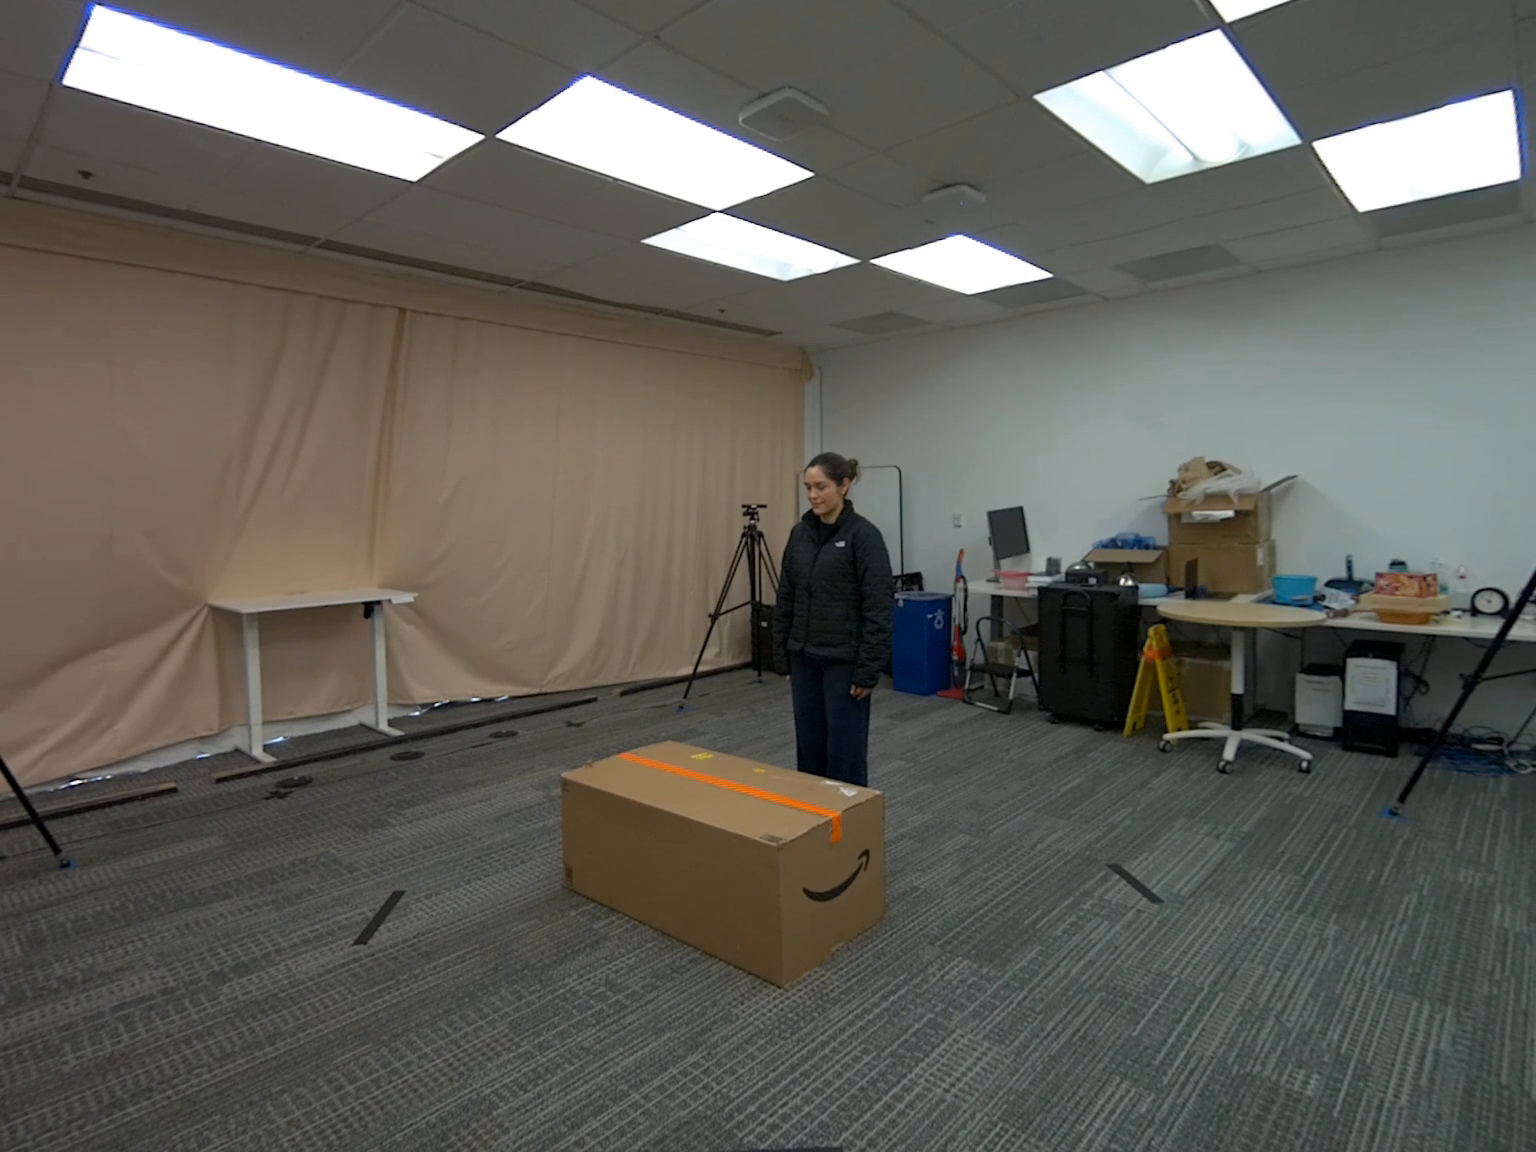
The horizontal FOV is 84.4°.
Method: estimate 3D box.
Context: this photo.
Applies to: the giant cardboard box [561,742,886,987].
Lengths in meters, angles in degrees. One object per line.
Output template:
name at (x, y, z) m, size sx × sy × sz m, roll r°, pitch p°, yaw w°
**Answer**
giant cardboard box at (-0.173, 0.932, 2.955) m, size 1.059 × 0.425 × 0.560 m, roll 3°, pitch 5°, yaw 40°
